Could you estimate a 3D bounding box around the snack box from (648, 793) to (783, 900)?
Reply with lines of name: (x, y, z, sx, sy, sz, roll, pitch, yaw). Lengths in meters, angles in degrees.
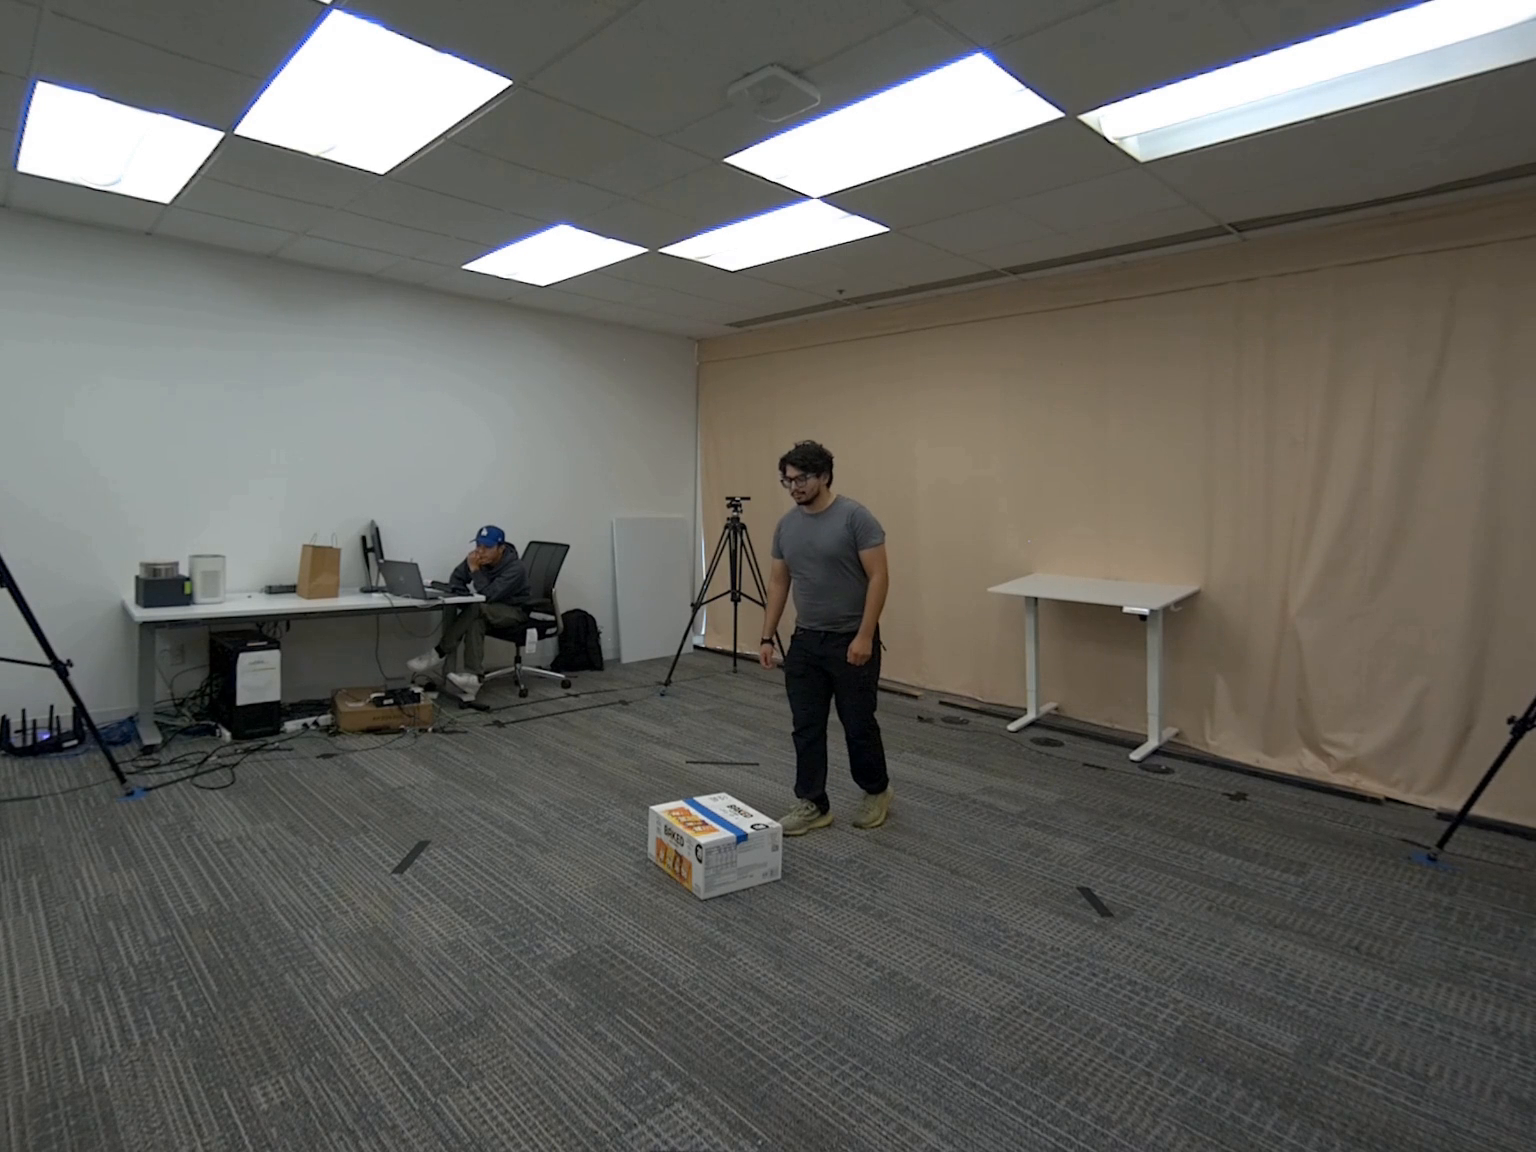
snack box: (-0.210, 1.000, 3.149, 0.333, 0.205, 0.415, -2, 5, -34)
